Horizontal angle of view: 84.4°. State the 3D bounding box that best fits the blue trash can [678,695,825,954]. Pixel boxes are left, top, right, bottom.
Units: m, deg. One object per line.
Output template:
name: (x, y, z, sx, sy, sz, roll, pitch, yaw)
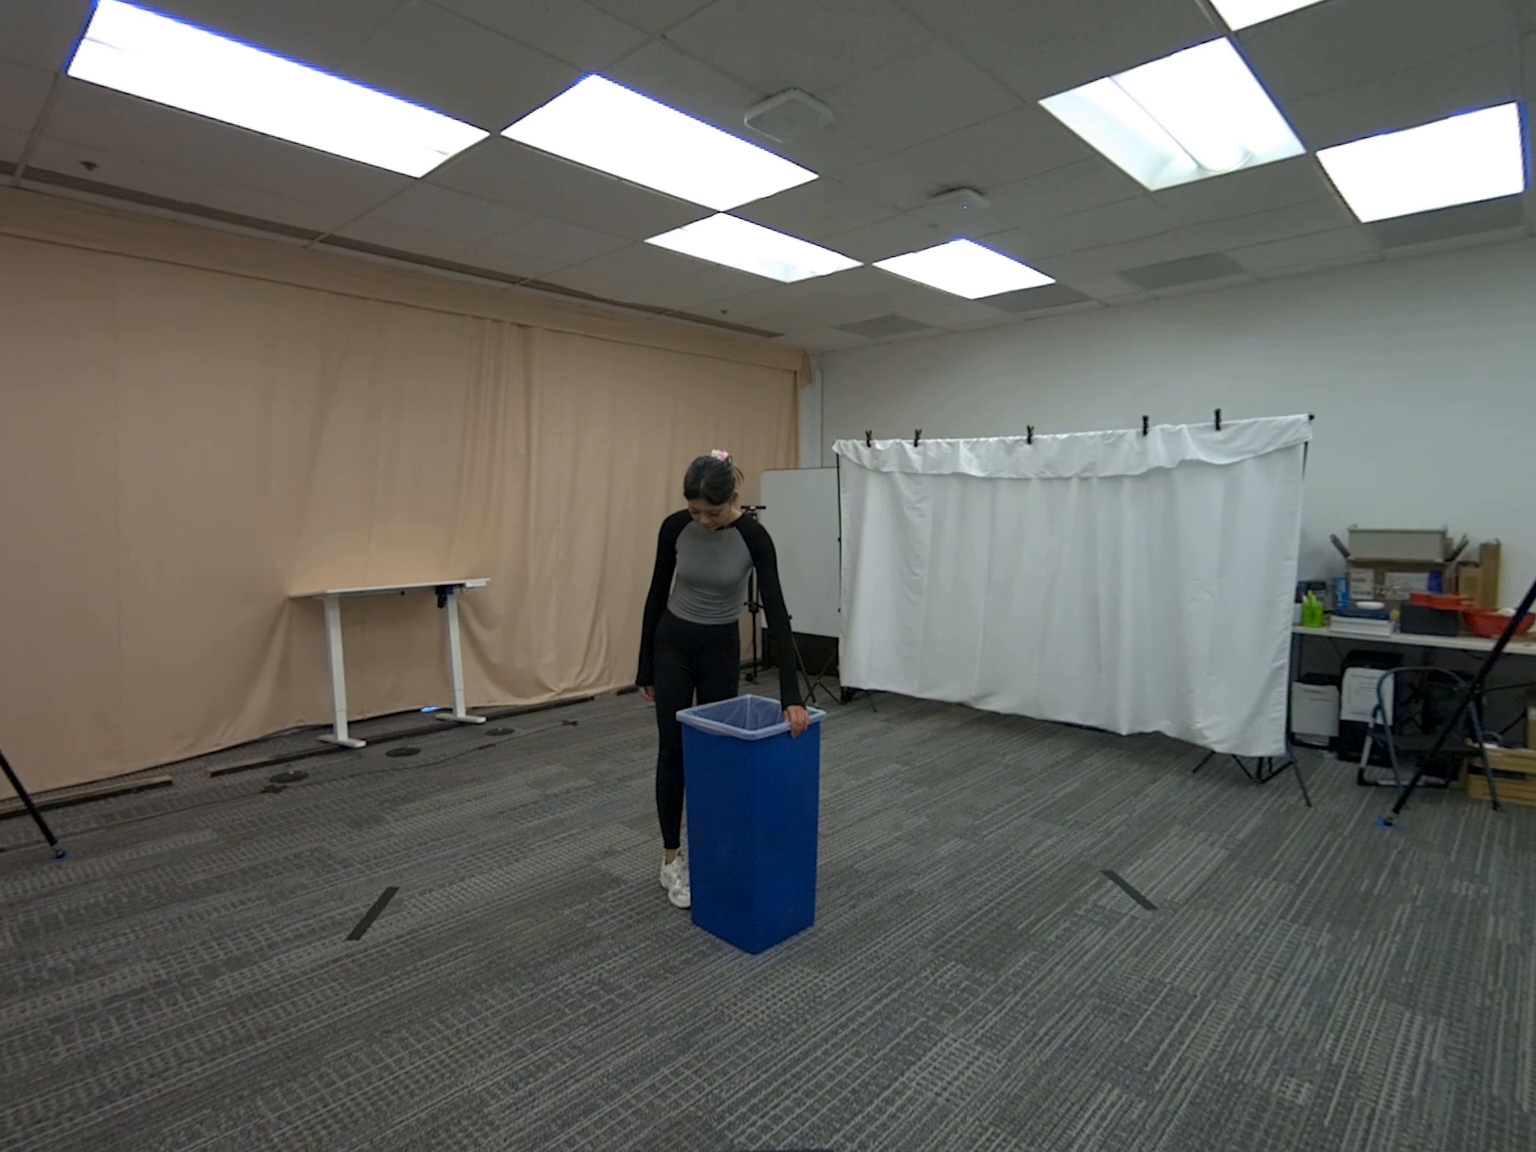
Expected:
blue trash can: (-0.049, 0.804, 2.783, 0.391, 0.712, 0.362, 3, 4, 44)
